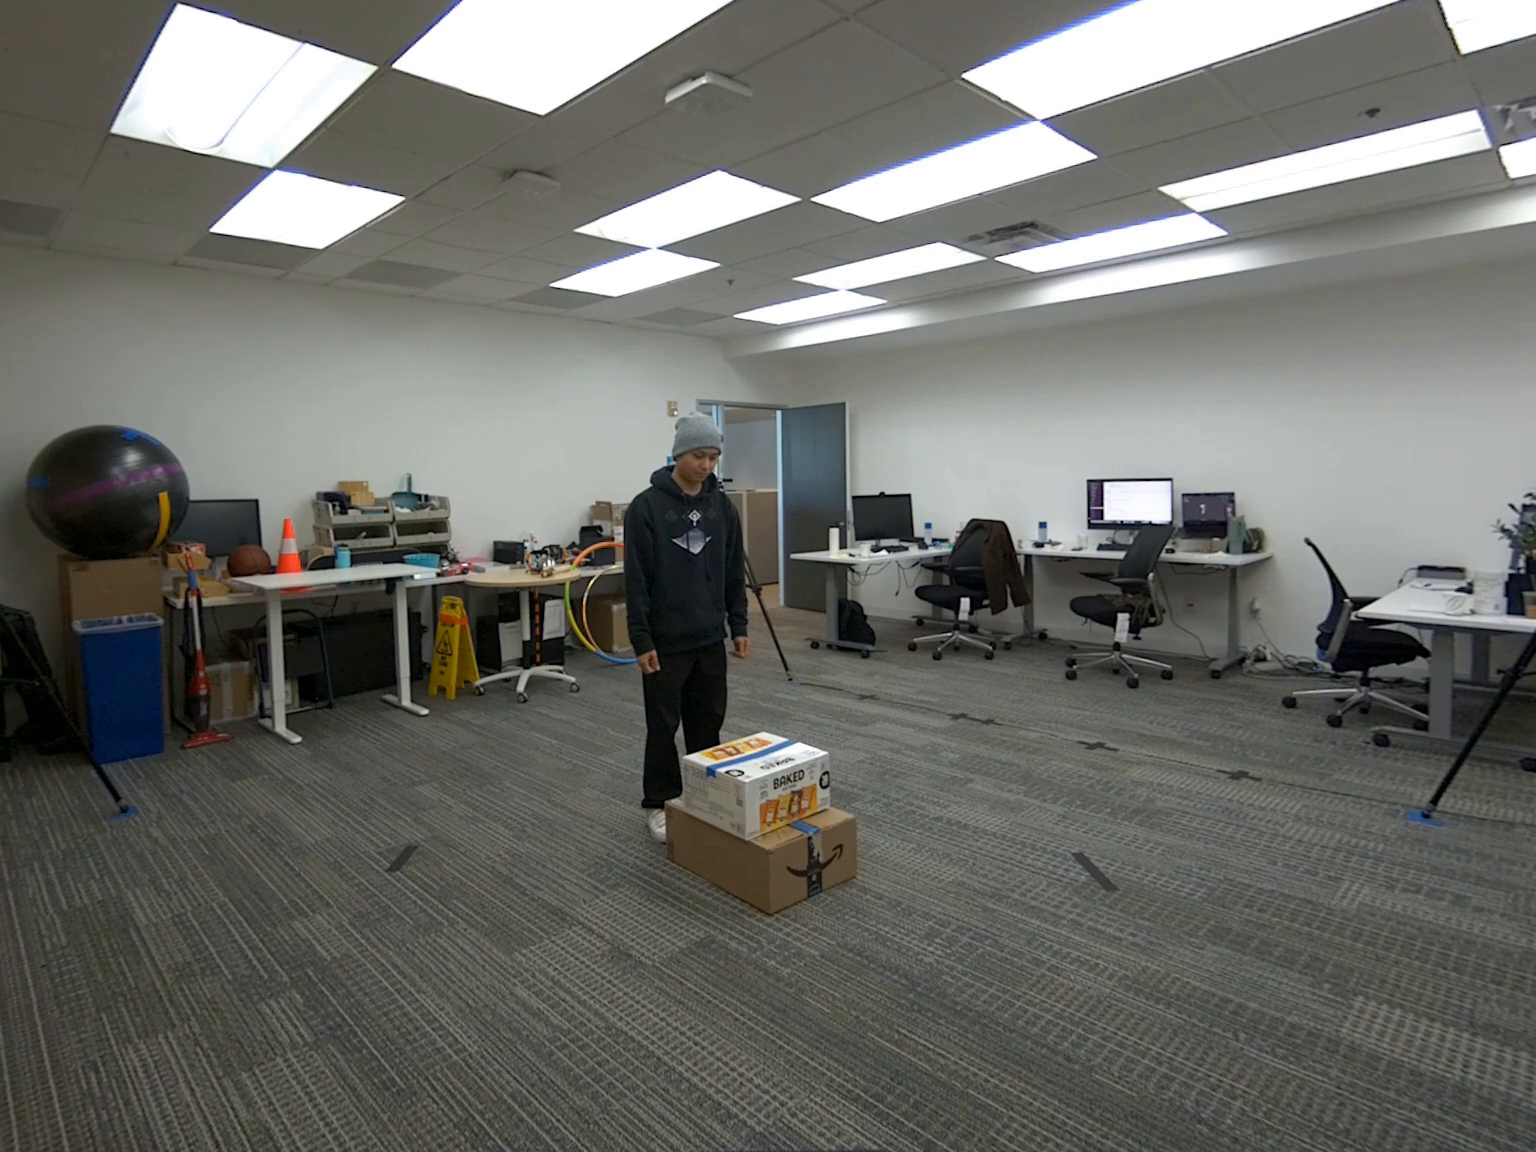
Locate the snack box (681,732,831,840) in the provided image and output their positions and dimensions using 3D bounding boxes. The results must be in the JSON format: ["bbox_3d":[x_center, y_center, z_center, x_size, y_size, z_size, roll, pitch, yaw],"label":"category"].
[{"bbox_3d":[-0.039,0.734,3.032,0.395,0.205,0.351,-8,9,-41],"label":"snack box"}]
